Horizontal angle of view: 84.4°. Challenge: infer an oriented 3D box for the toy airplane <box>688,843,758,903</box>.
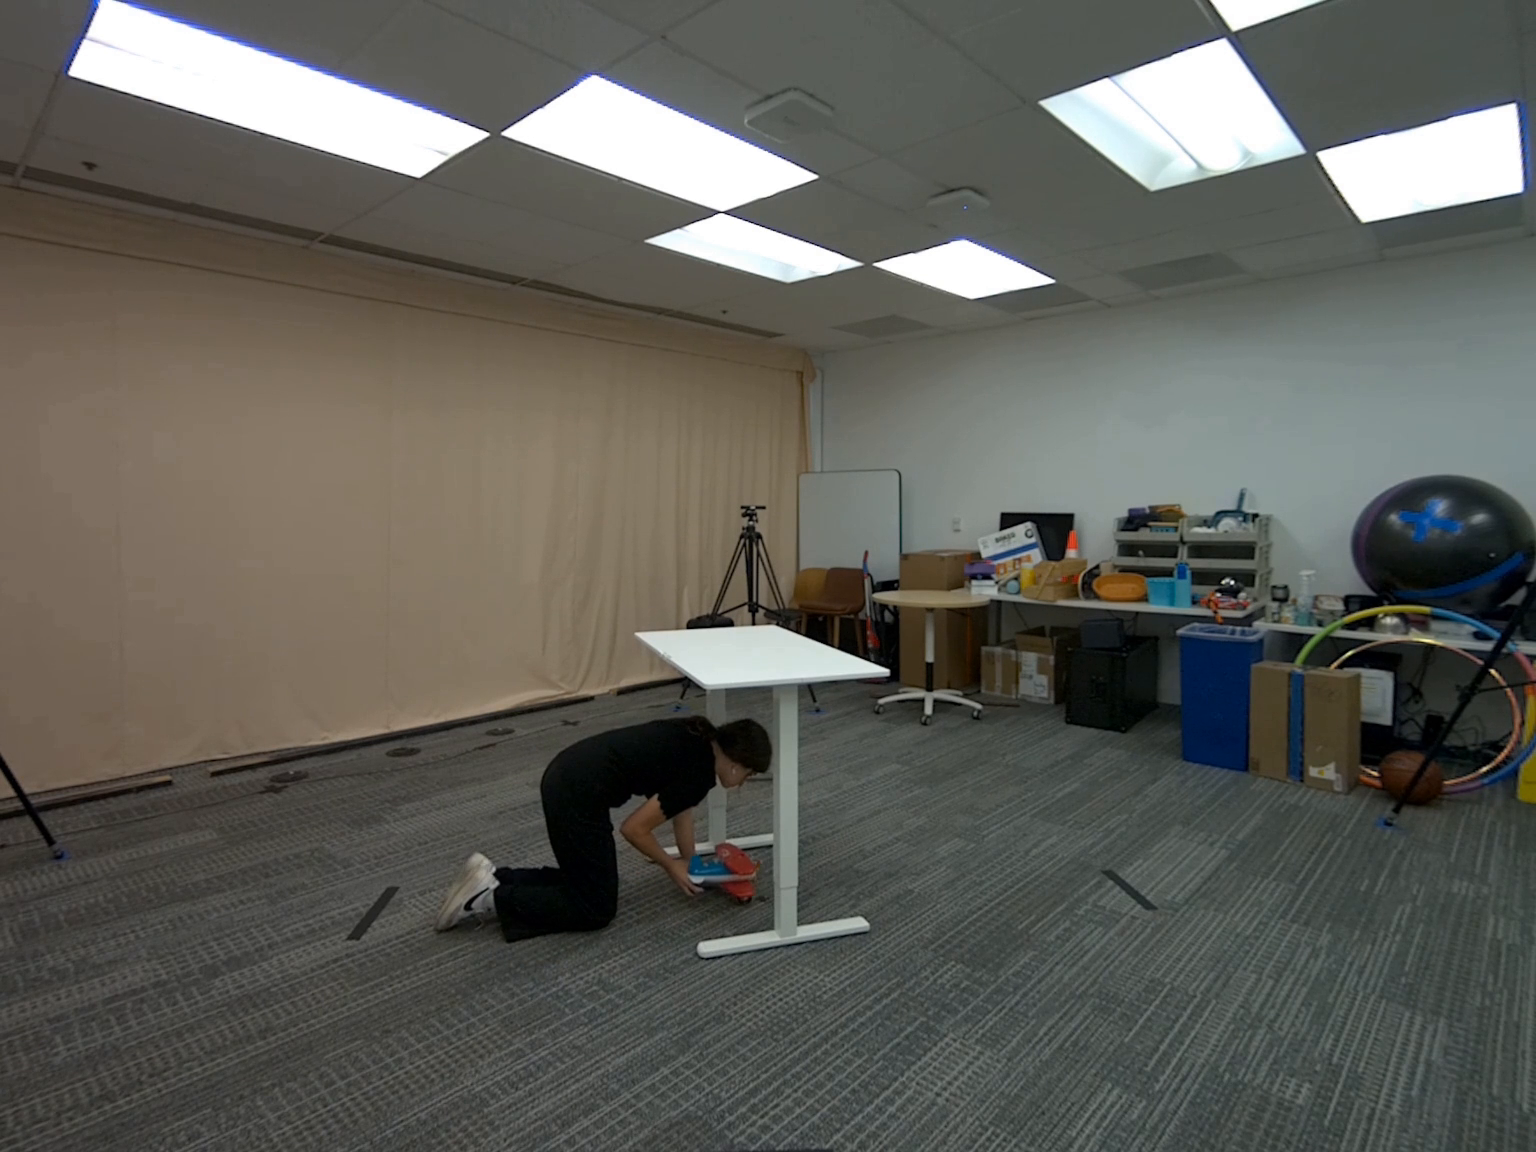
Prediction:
[{"bbox_3d":[-0.150,1.057,2.932,0.260,0.156,0.250,13,-4,40],"label":"toy airplane"}]
